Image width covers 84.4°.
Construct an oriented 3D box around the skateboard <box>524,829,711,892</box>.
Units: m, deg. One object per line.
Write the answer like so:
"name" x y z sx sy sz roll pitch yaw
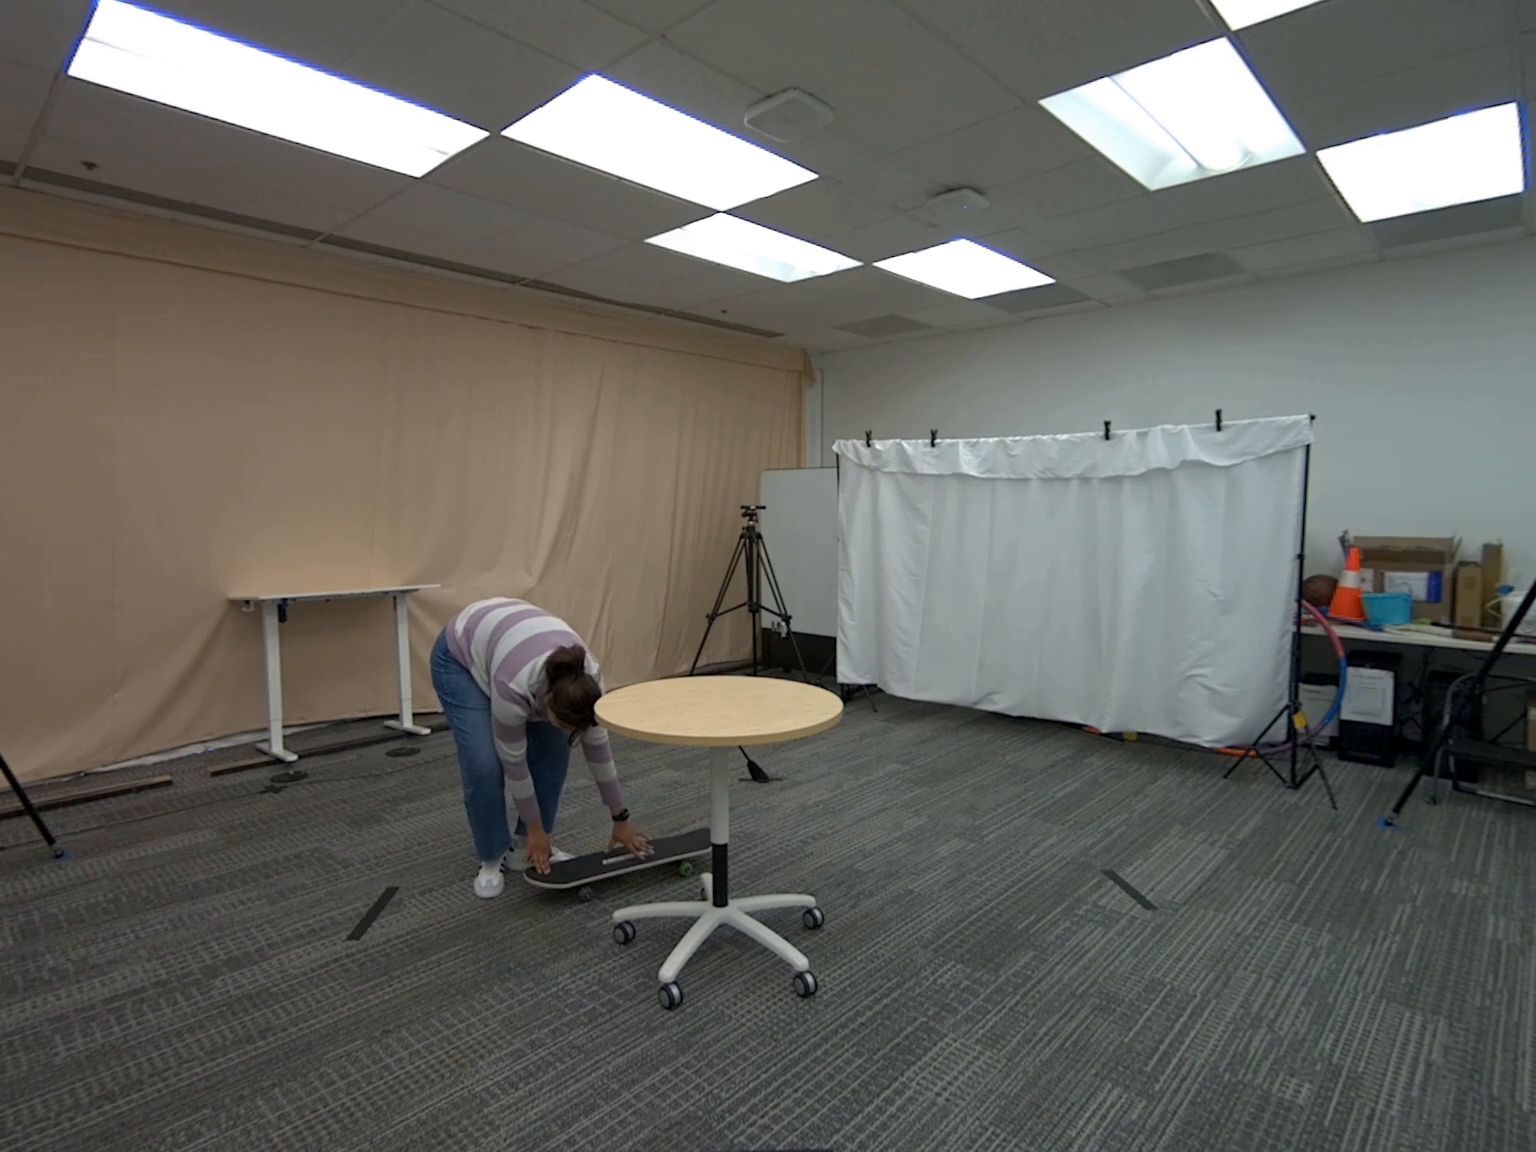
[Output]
"skateboard" -0.522 1.082 3.132 0.764 0.110 0.199 -4 5 -30
